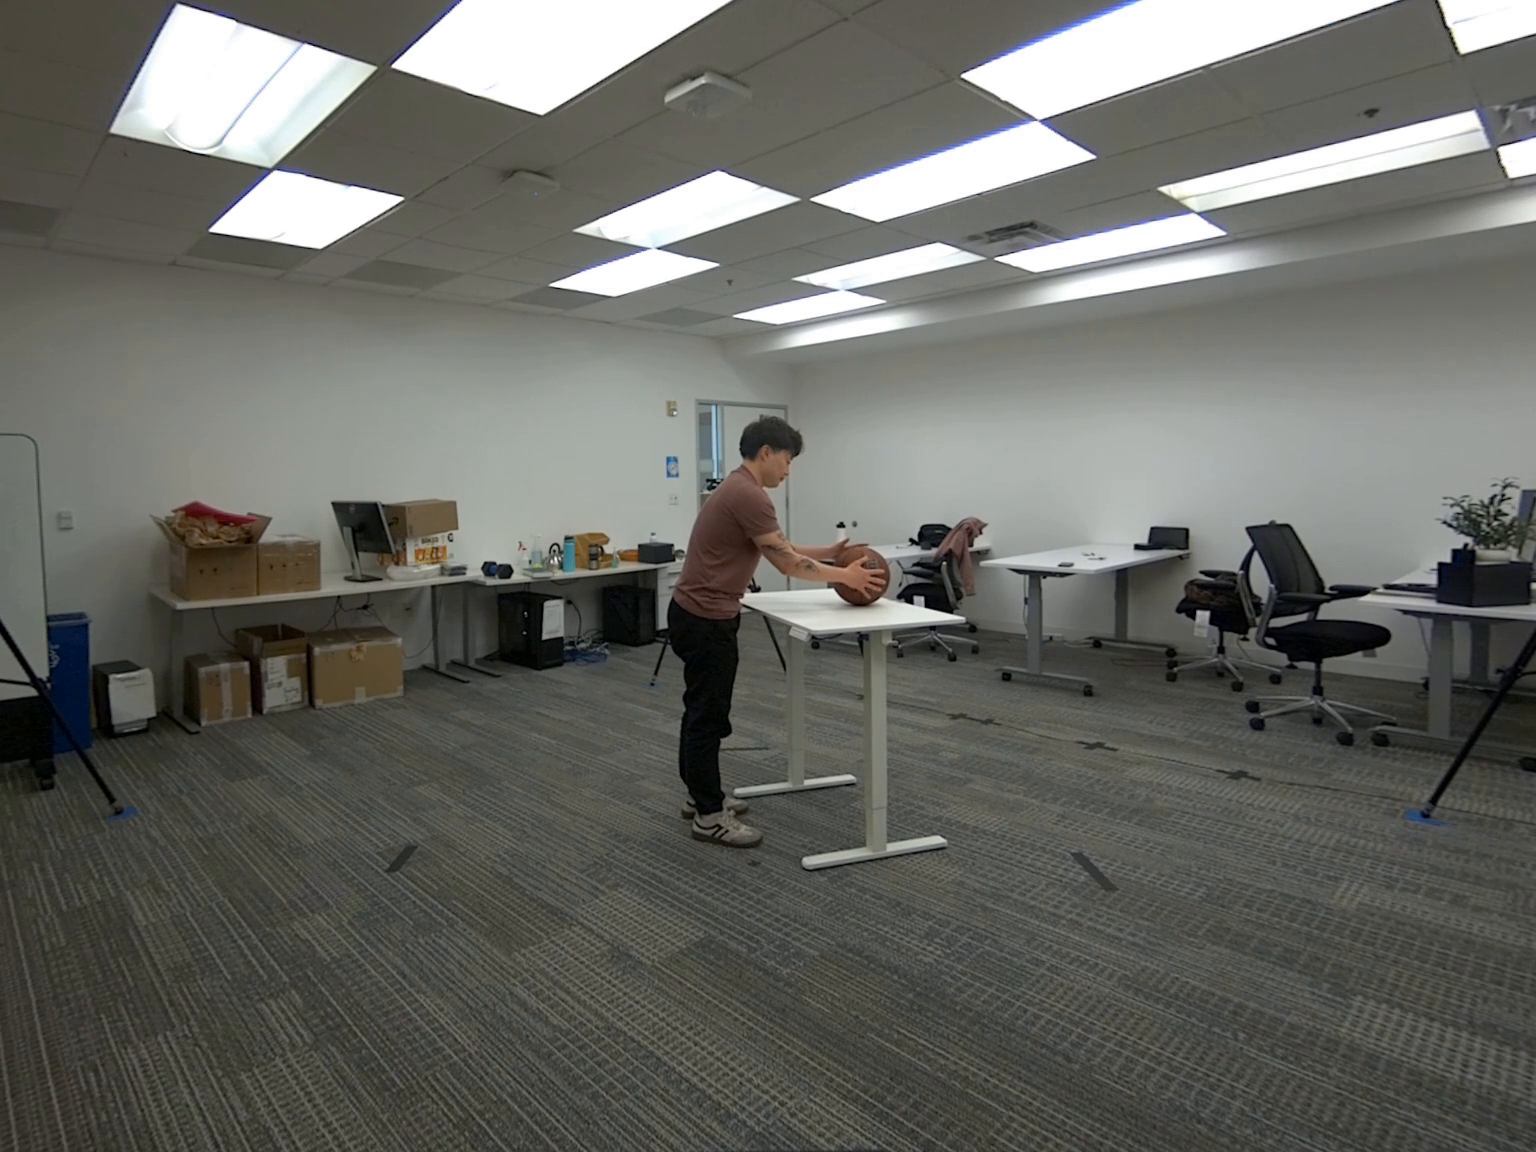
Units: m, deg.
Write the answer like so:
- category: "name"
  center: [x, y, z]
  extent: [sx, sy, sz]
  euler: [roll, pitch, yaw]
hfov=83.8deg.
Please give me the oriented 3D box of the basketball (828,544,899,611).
- category: "basketball"
  center: [0.377, -0.001, 3.435]
  extent: [0.236, 0.235, 0.237]
  euler: [-1, 5, -2]
